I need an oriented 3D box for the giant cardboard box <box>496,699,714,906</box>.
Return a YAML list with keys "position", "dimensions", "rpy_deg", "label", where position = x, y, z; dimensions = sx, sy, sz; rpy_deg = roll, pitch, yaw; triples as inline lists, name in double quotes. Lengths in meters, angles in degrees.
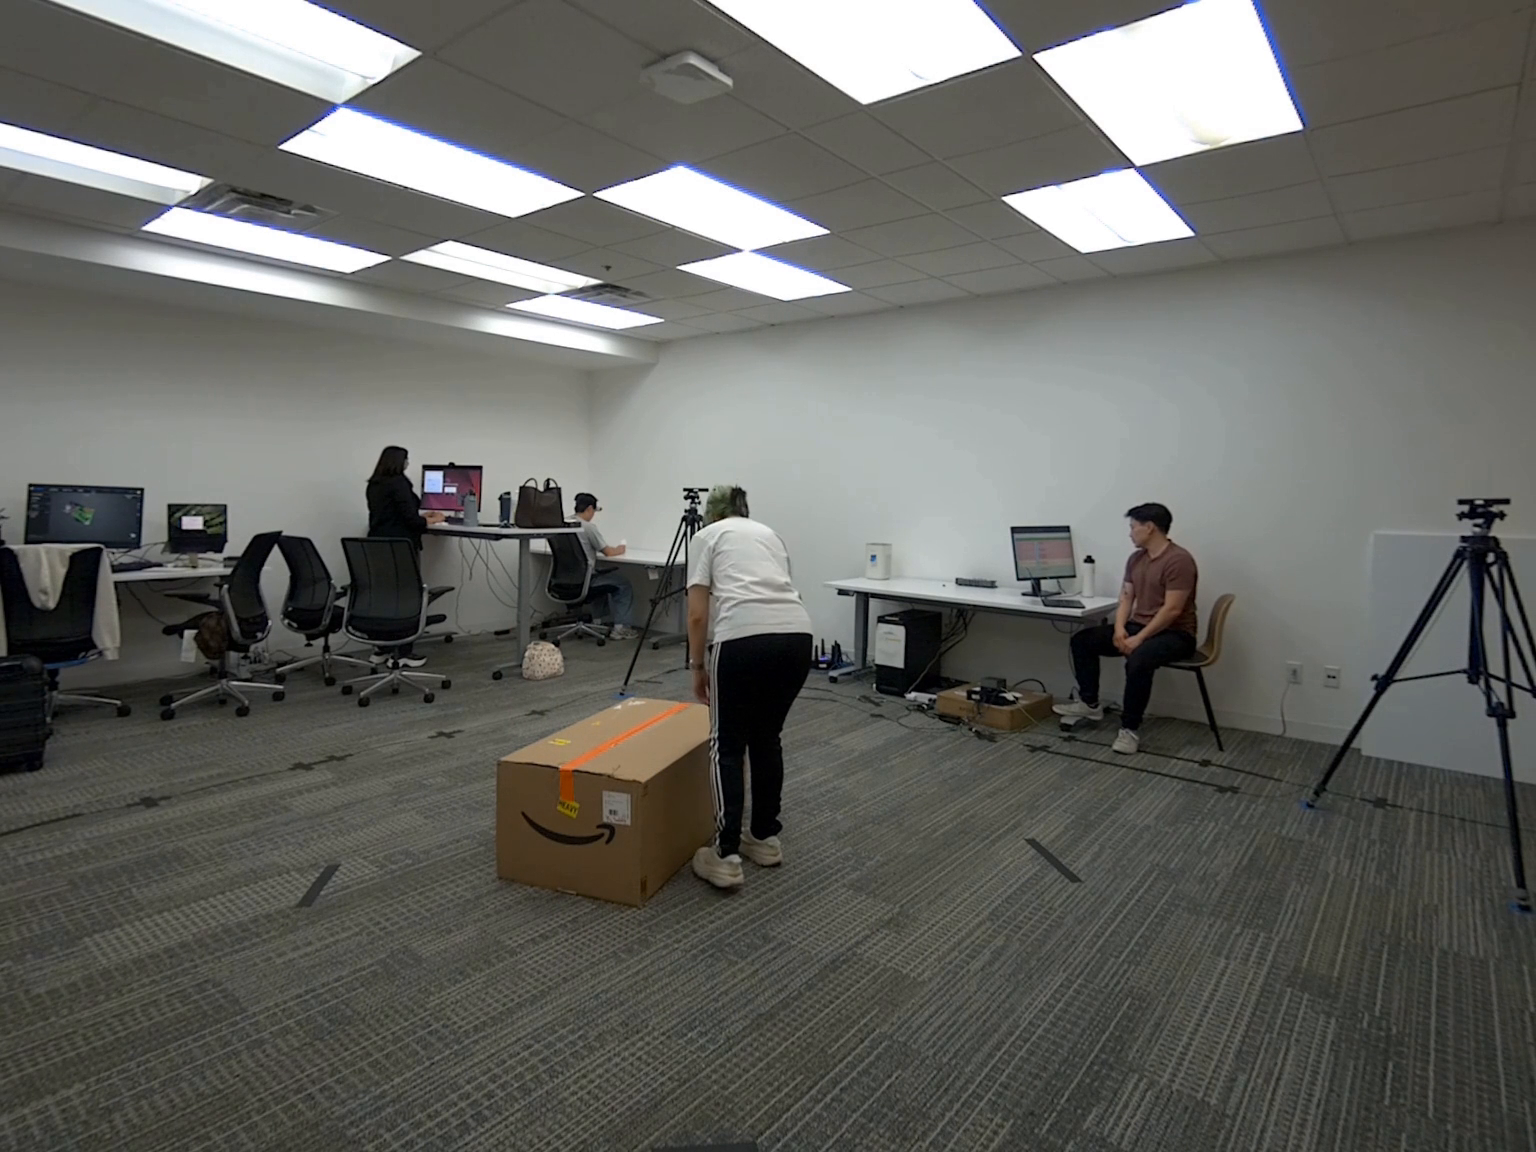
- position: [-0.540, 0.823, 3.362]
  dimensions: [0.590, 0.425, 1.008]
  rpy_deg: [2, 5, 19]
  label: "giant cardboard box"
